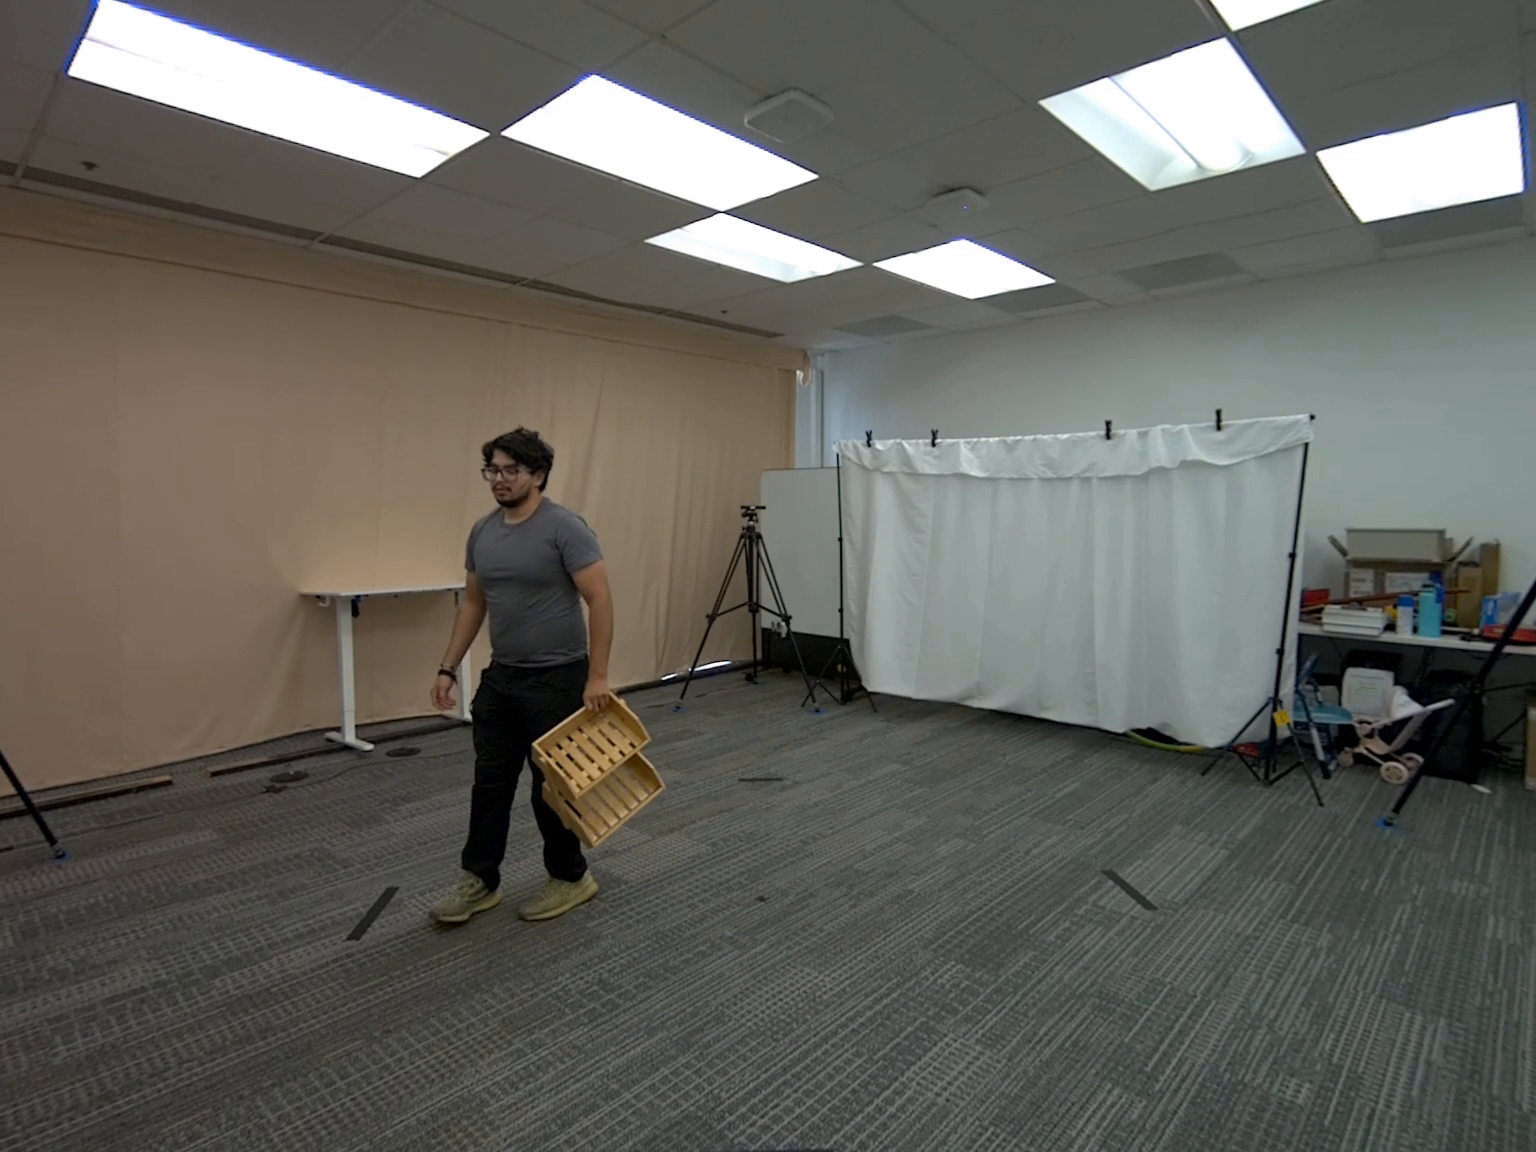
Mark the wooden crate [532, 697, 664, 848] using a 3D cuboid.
[{"bbox_3d":[-0.517,0.600,2.622,0.310,0.270,0.319,38,50,22],"label":"wooden crate"}]
